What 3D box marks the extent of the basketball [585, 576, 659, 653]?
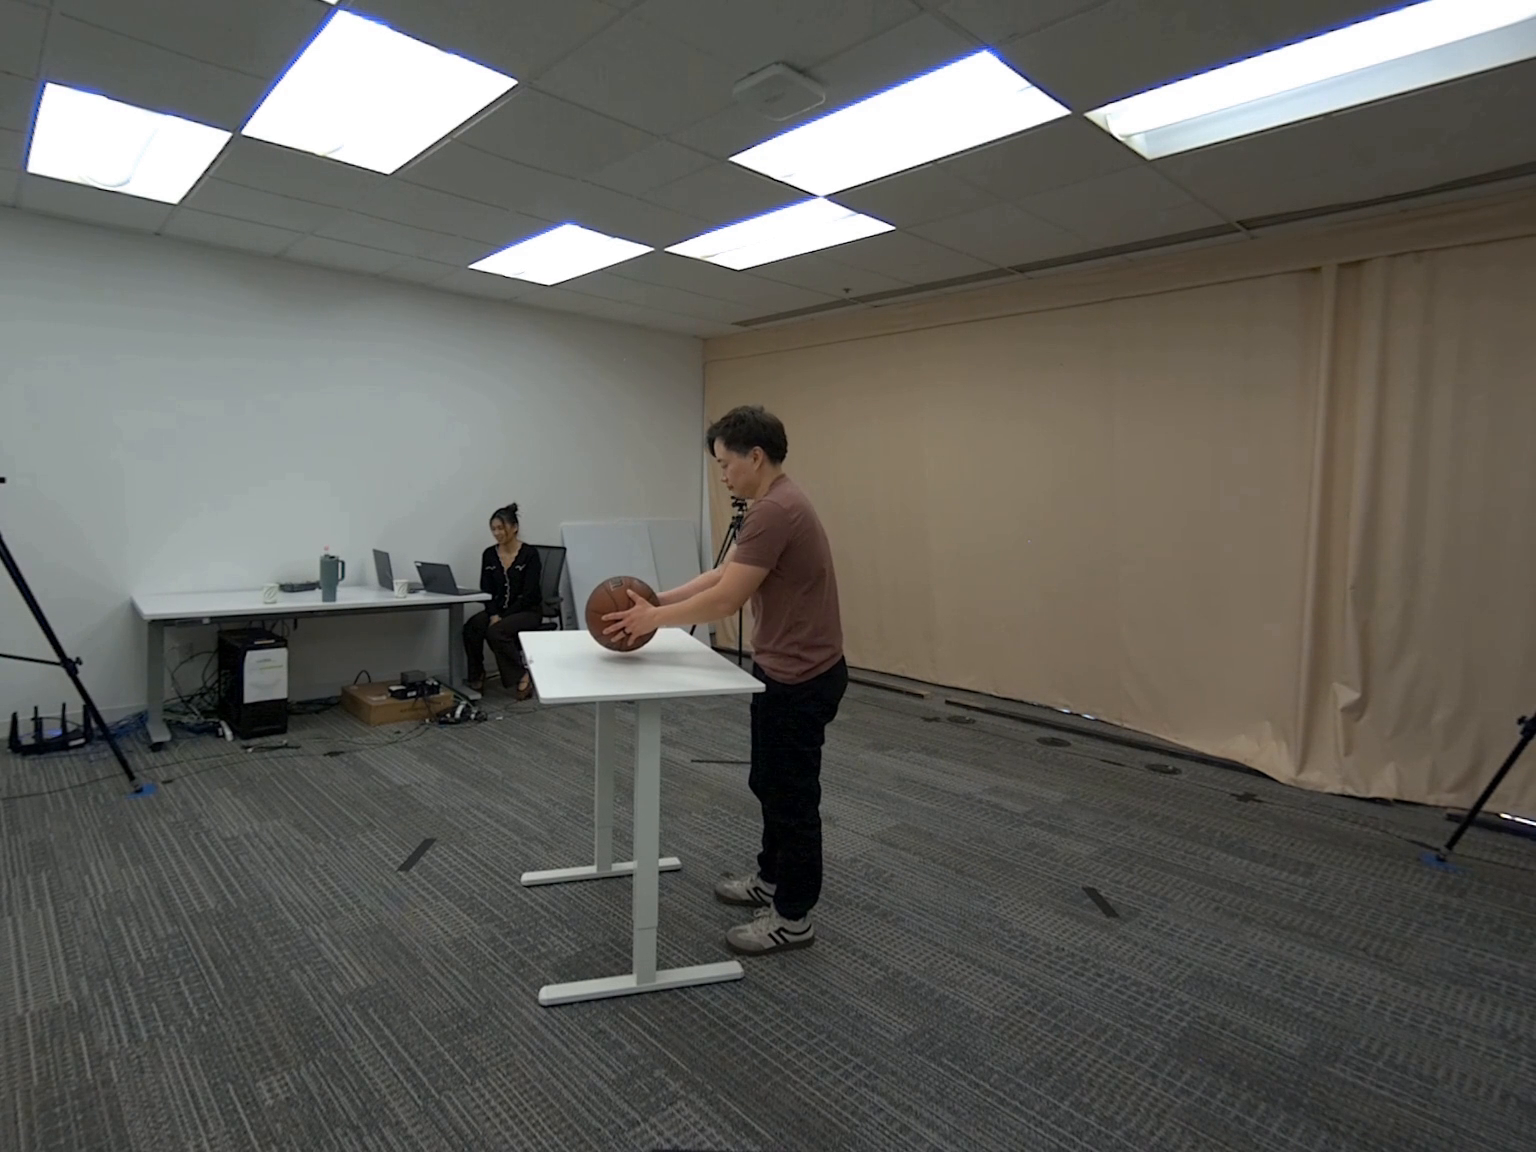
[{"bbox_3d":[-0.454,0.120,2.624,0.236,0.235,0.237,1,4,-1],"label":"basketball"}]
